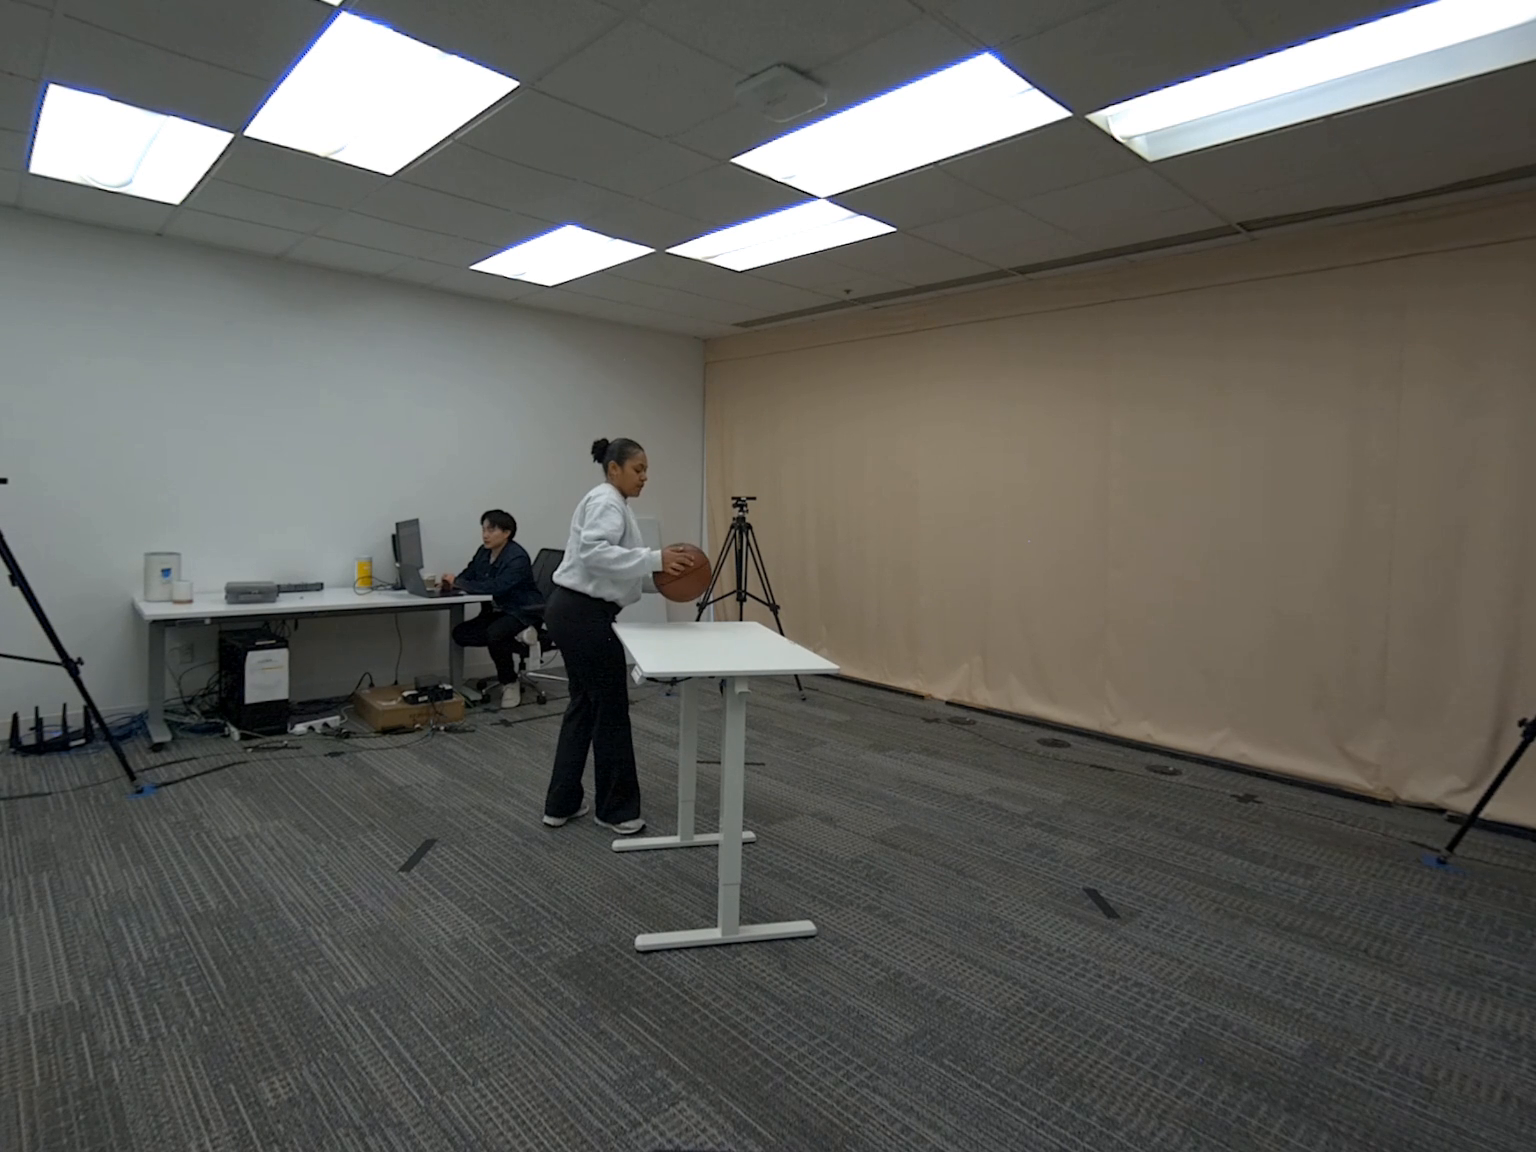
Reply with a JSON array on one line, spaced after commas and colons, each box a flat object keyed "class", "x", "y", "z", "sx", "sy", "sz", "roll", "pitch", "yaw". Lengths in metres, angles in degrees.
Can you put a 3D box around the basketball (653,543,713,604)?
[{"class": "basketball", "x": -0.359, "y": -0.008, "z": 3.375, "sx": 0.236, "sy": 0.235, "sz": 0.237, "roll": 1, "pitch": 4, "yaw": -1}]
